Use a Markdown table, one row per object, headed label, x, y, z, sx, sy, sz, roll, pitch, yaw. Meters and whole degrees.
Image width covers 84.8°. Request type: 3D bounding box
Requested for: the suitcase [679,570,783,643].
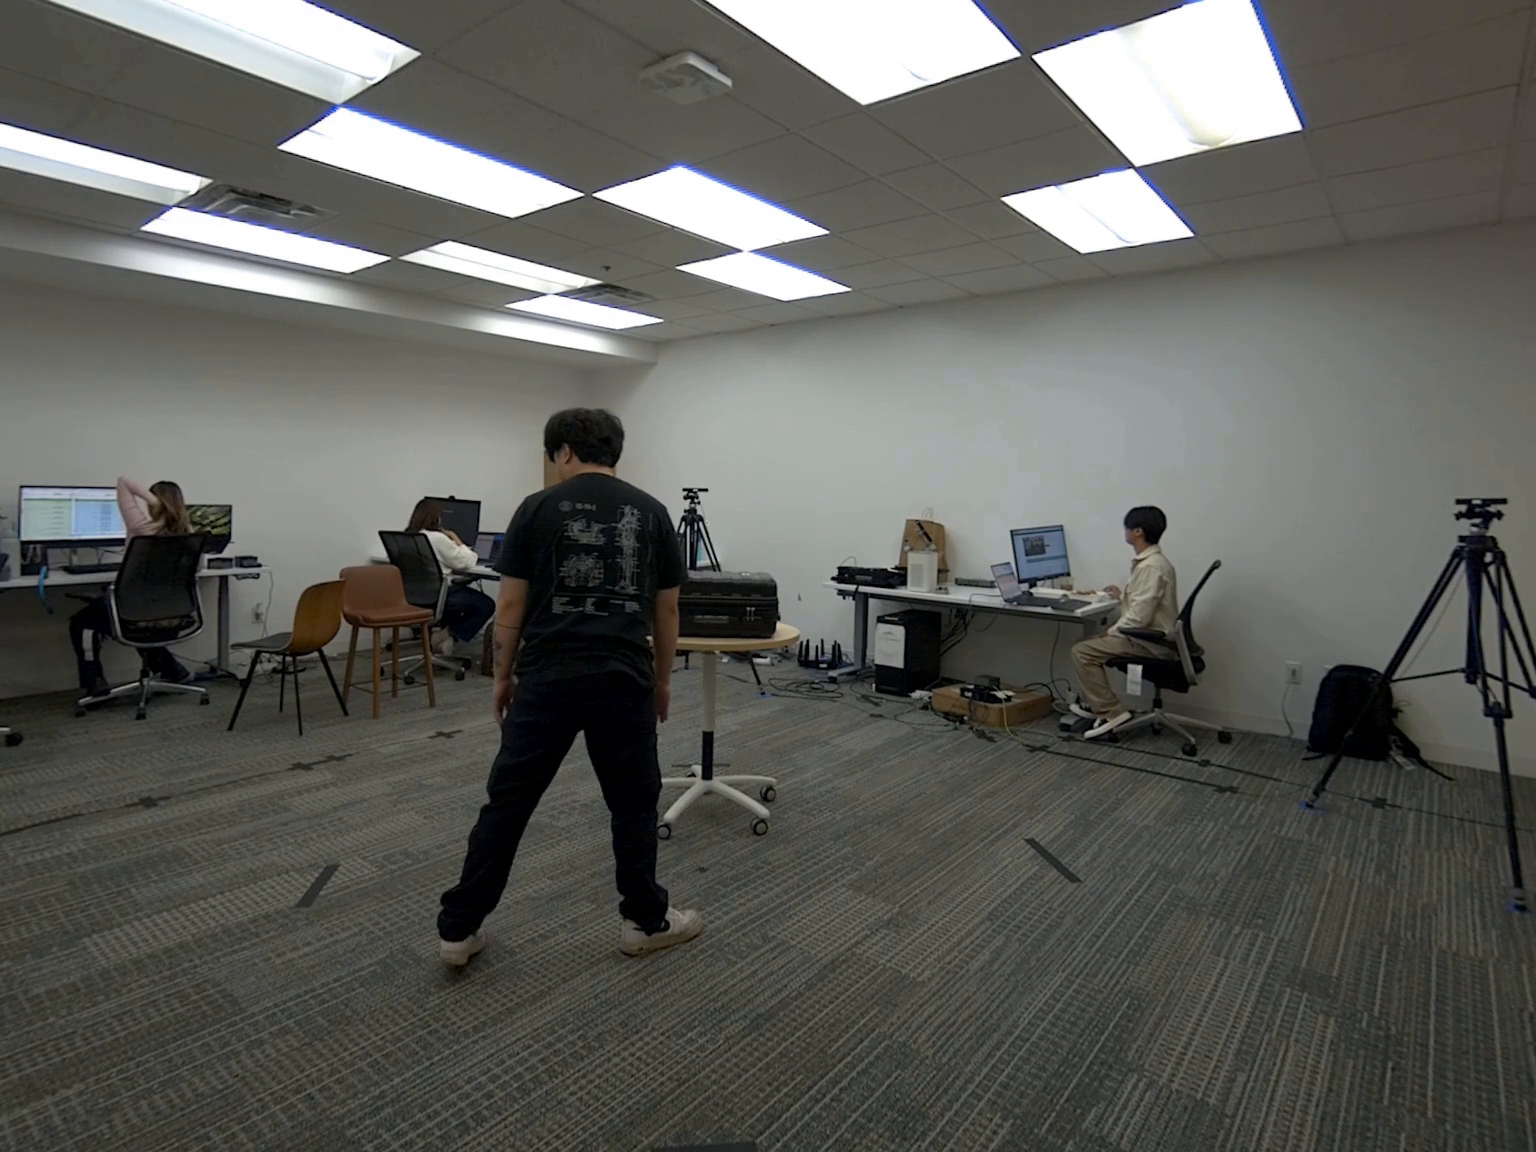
| label | x | y | z | sx | sy | sz | roll | pitch | yaw |
| --- | --- | --- | --- | --- | --- | --- | --- | --- | --- |
| suitcase | -0.237 | 0.114 | 3.555 | 0.549 | 0.248 | 0.376 | 3 | 2 | -1 |
